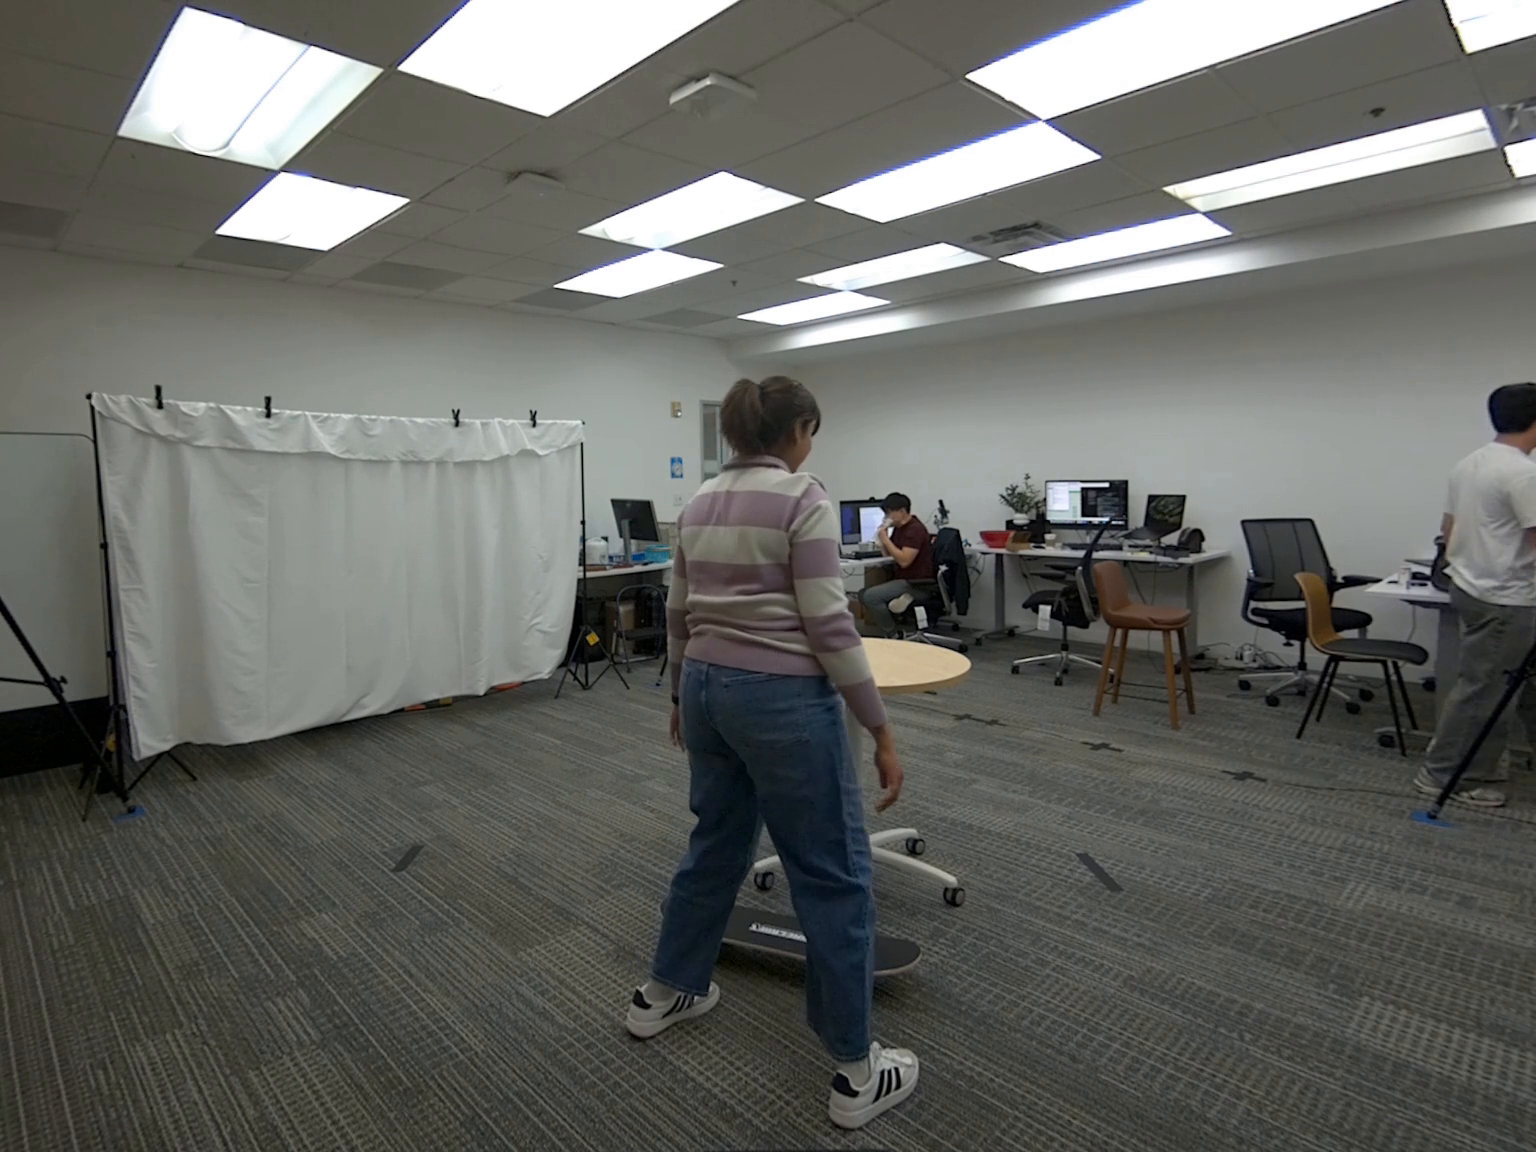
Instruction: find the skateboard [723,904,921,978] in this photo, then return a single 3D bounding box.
[{"bbox_3d":[0.051,1.062,2.470,0.803,0.110,0.190,2,5,24],"label":"skateboard"}]
